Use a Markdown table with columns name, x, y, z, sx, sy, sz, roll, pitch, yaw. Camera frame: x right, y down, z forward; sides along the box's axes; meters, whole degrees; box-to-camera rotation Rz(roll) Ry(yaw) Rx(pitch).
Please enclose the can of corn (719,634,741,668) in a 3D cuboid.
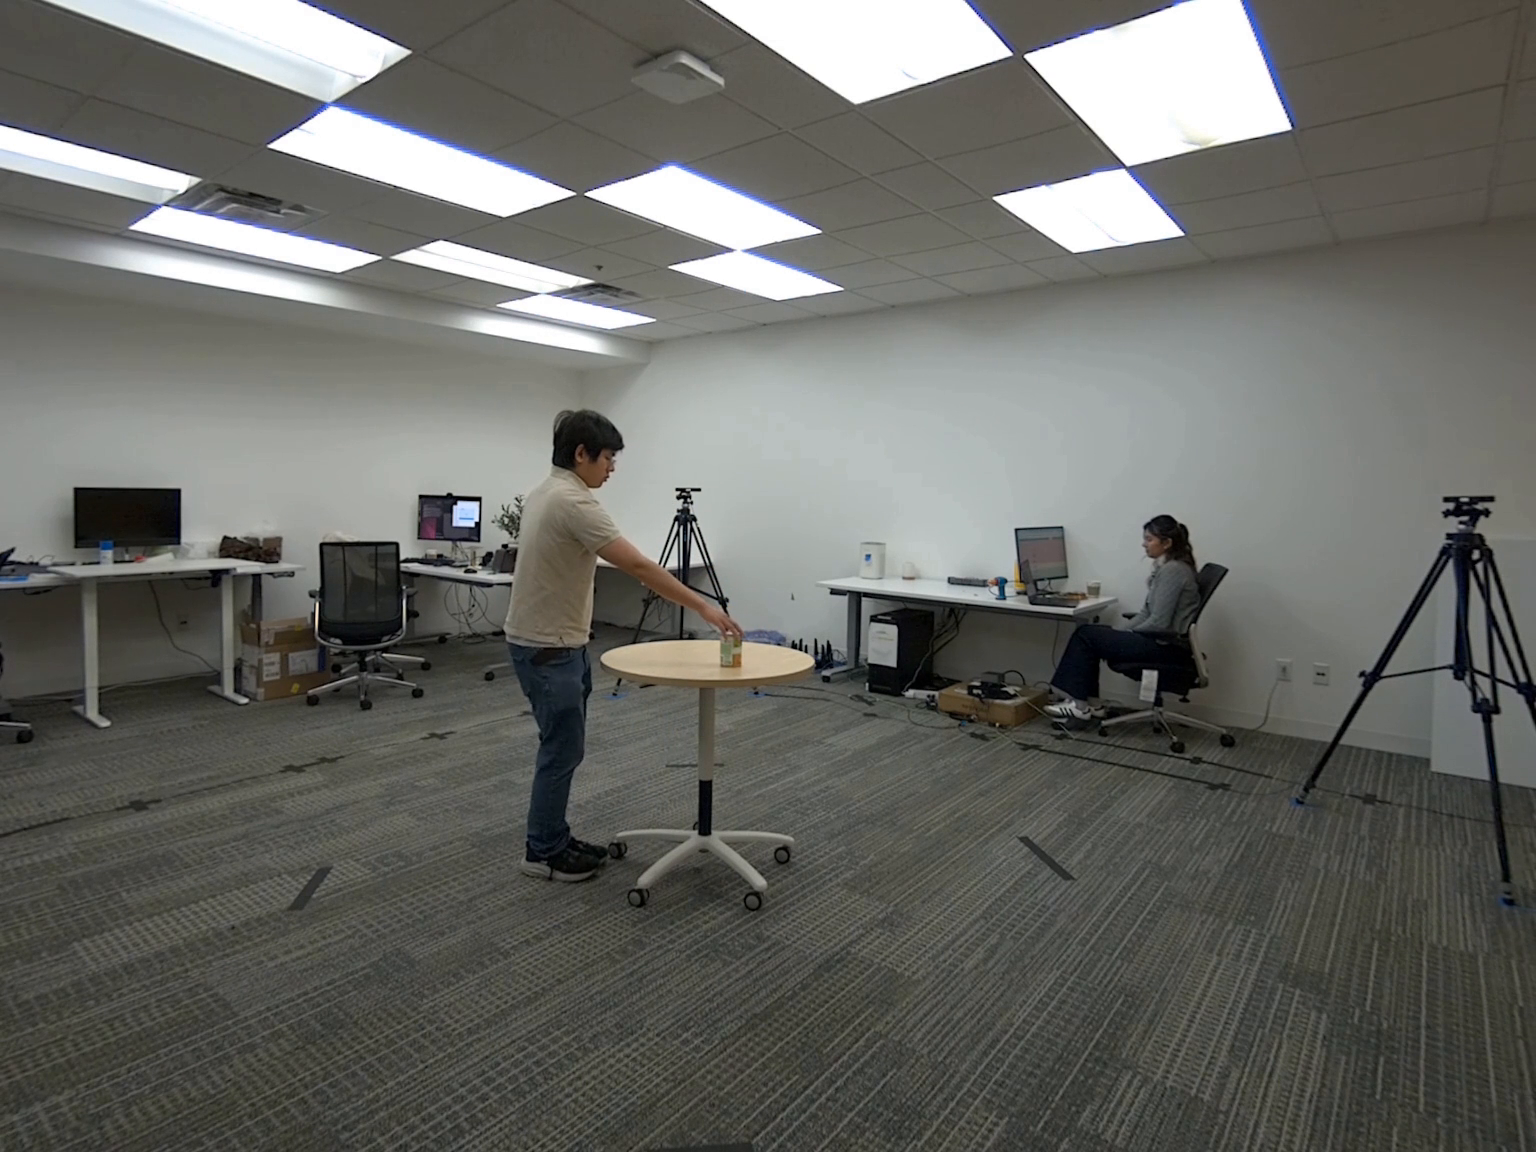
| name | x | y | z | sx | sy | sz | roll | pitch | yaw |
| --- | --- | --- | --- | --- | --- | --- | --- | --- | --- |
| can of corn | -0.146 | 0.250 | 2.911 | 0.074 | 0.110 | 0.074 | 1 | 5 | -2 |
